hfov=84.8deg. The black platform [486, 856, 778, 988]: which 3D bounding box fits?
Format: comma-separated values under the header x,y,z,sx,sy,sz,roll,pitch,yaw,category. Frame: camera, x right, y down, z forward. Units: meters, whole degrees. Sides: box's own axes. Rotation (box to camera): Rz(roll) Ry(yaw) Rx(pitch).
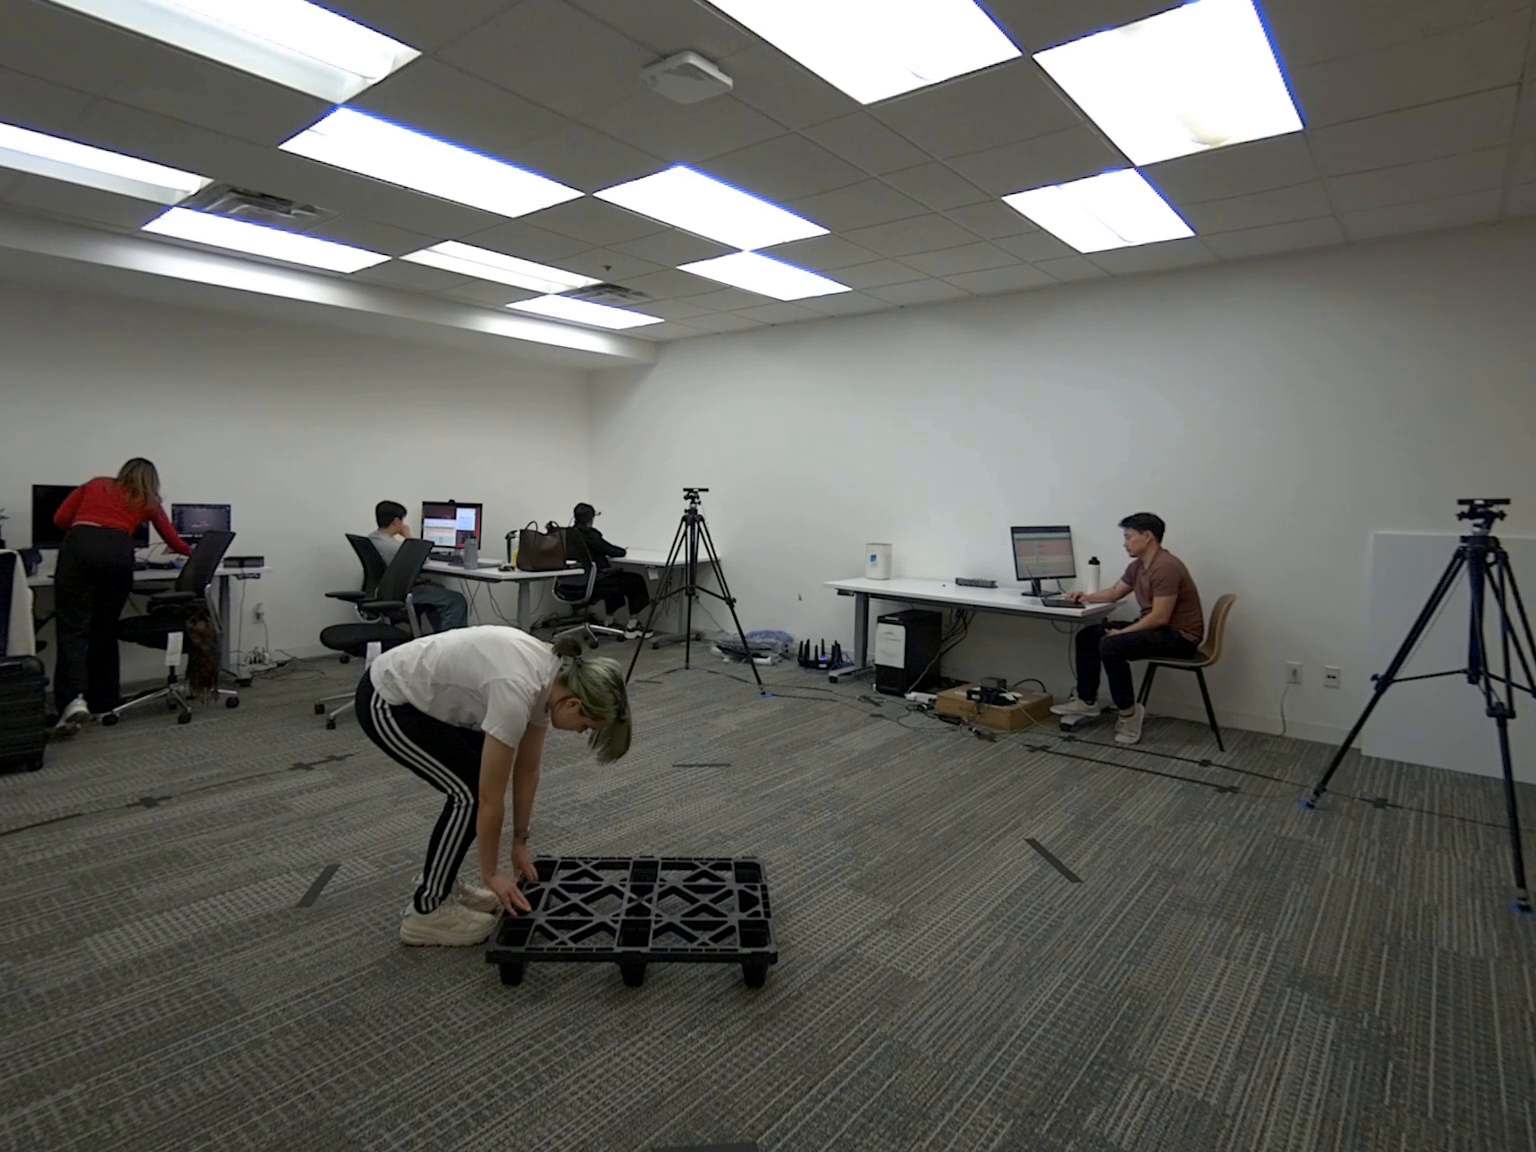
x,y,z,sx,sy,sz,roll,pitch,yaw,category
-0.395,1.049,2.595,0.805,0.142,0.609,0,7,-2,black platform
